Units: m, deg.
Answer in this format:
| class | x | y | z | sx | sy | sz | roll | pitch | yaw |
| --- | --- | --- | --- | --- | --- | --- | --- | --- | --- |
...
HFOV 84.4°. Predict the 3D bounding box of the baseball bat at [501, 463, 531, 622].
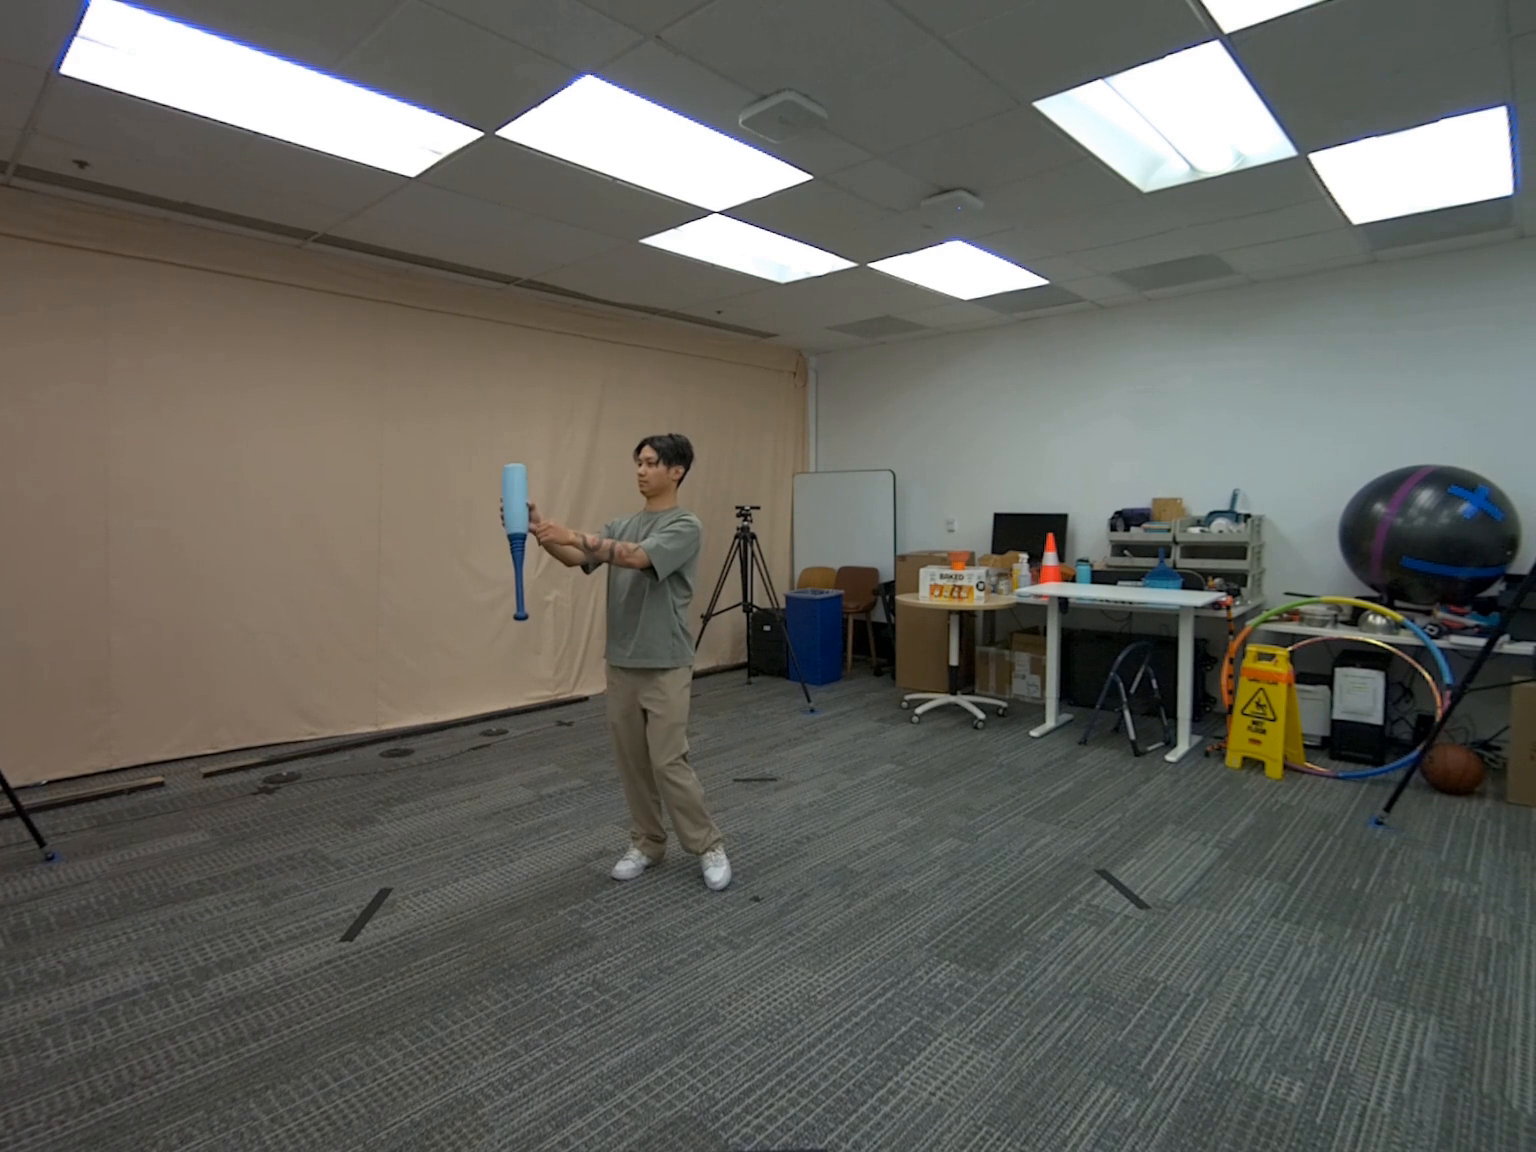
| class | x | y | z | sx | sy | sz | roll | pitch | yaw |
| --- | --- | --- | --- | --- | --- | --- | --- | --- | --- |
| baseball bat | -0.839 | -0.114 | 2.860 | 0.089 | 0.549 | 0.088 | -8 | -13 | -4 |
